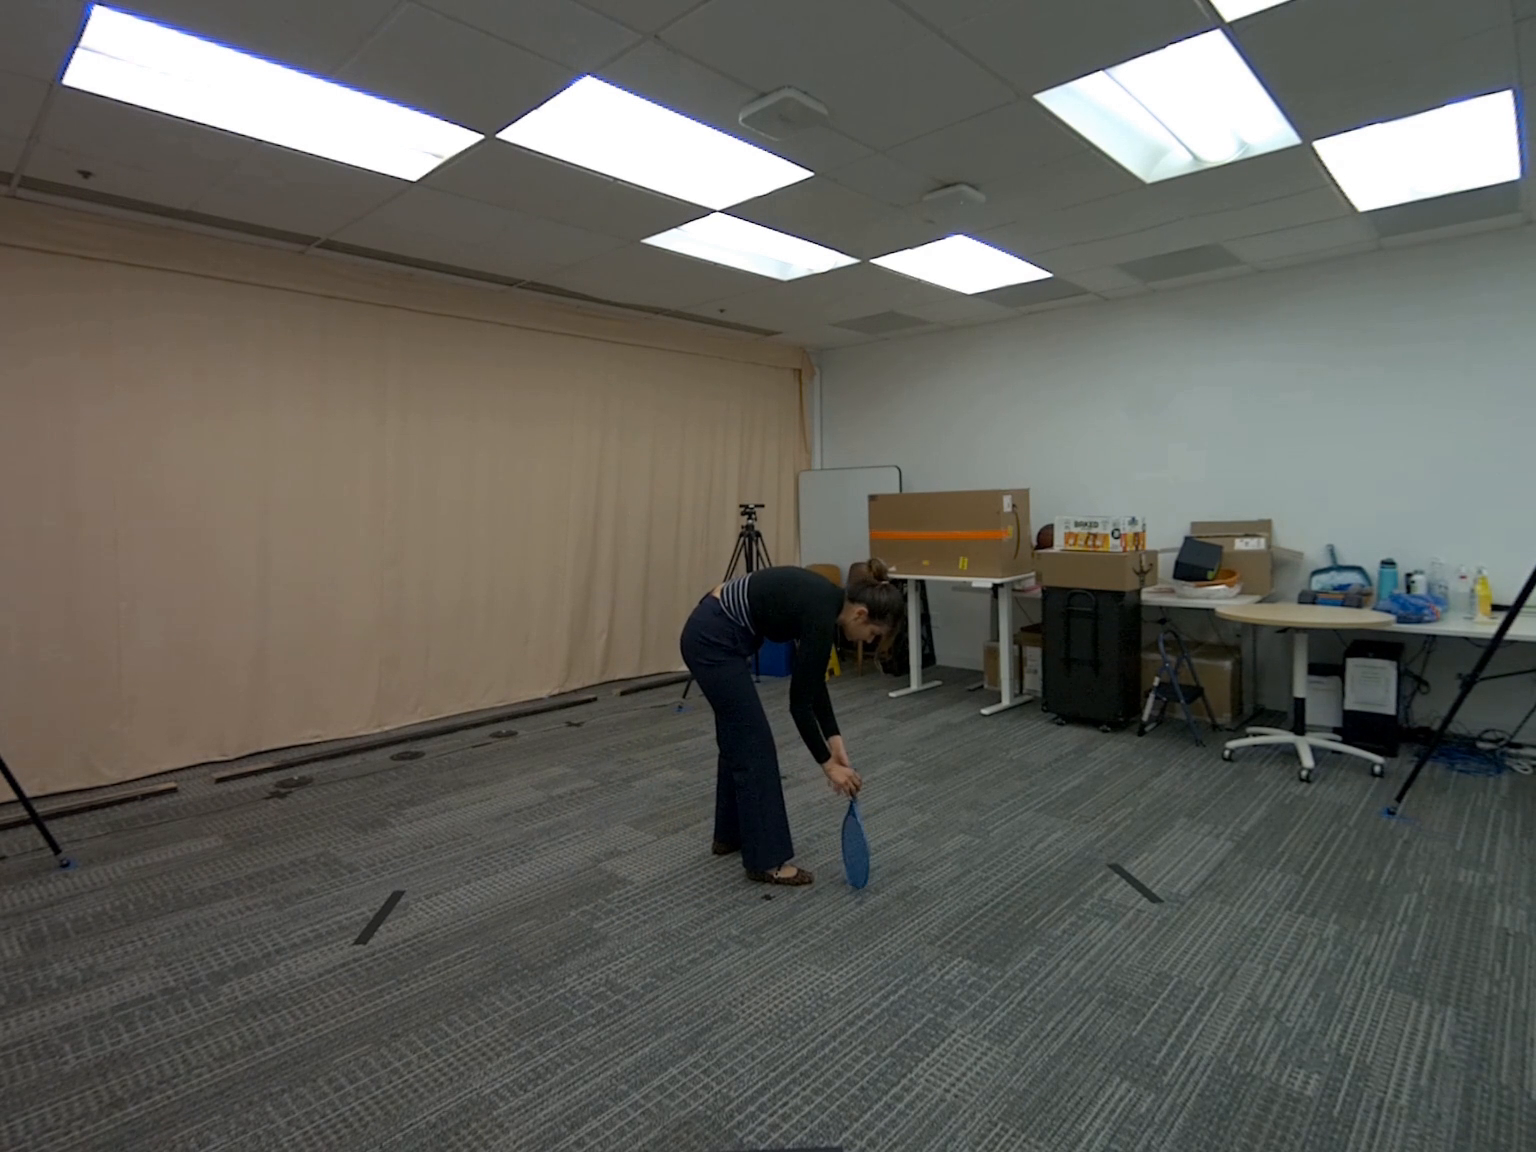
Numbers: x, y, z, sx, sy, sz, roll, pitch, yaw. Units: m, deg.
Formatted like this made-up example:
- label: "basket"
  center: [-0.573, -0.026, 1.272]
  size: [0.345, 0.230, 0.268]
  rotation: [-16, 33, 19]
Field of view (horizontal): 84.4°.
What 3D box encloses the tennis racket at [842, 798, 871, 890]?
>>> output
- label: "tennis racket"
  center: [0.314, 0.911, 3.046]
  size: [0.031, 0.432, 0.219]
  rotation: [-1, 2, -24]
